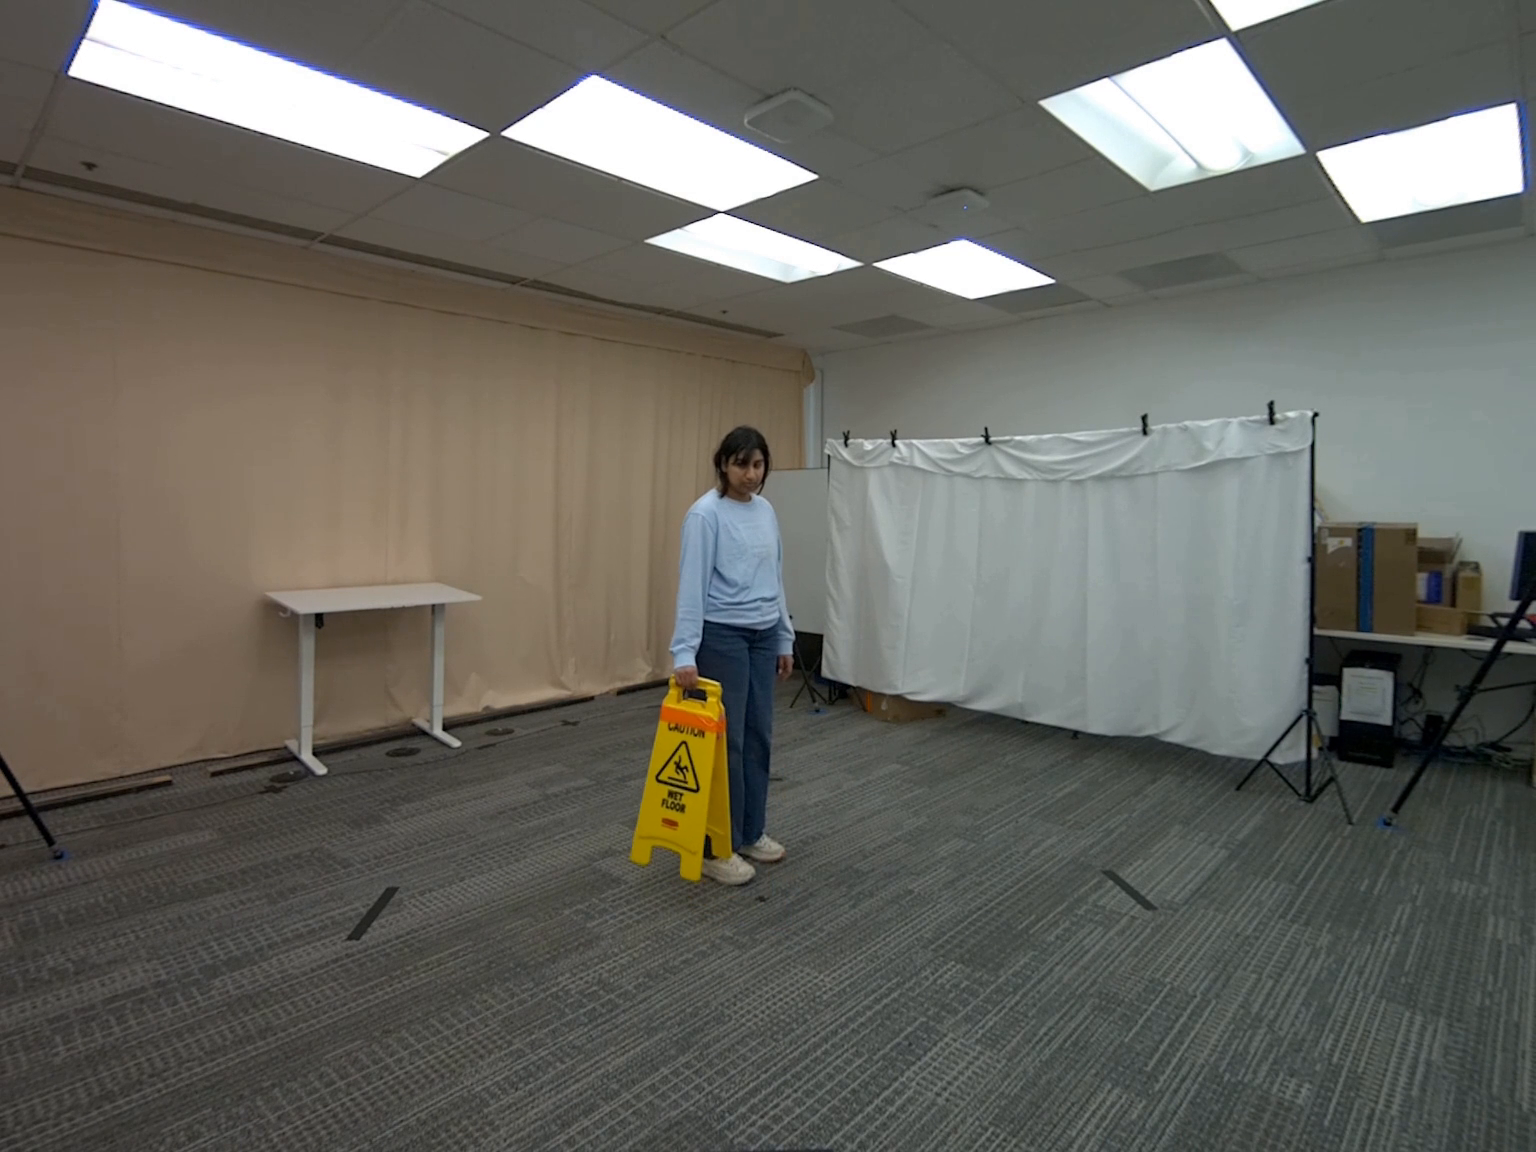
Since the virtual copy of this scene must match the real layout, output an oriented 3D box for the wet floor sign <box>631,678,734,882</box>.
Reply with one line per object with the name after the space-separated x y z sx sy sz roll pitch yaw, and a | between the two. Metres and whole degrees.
-0.278 0.682 2.962 0.290 0.645 0.282 5 4 26 | wet floor sign
